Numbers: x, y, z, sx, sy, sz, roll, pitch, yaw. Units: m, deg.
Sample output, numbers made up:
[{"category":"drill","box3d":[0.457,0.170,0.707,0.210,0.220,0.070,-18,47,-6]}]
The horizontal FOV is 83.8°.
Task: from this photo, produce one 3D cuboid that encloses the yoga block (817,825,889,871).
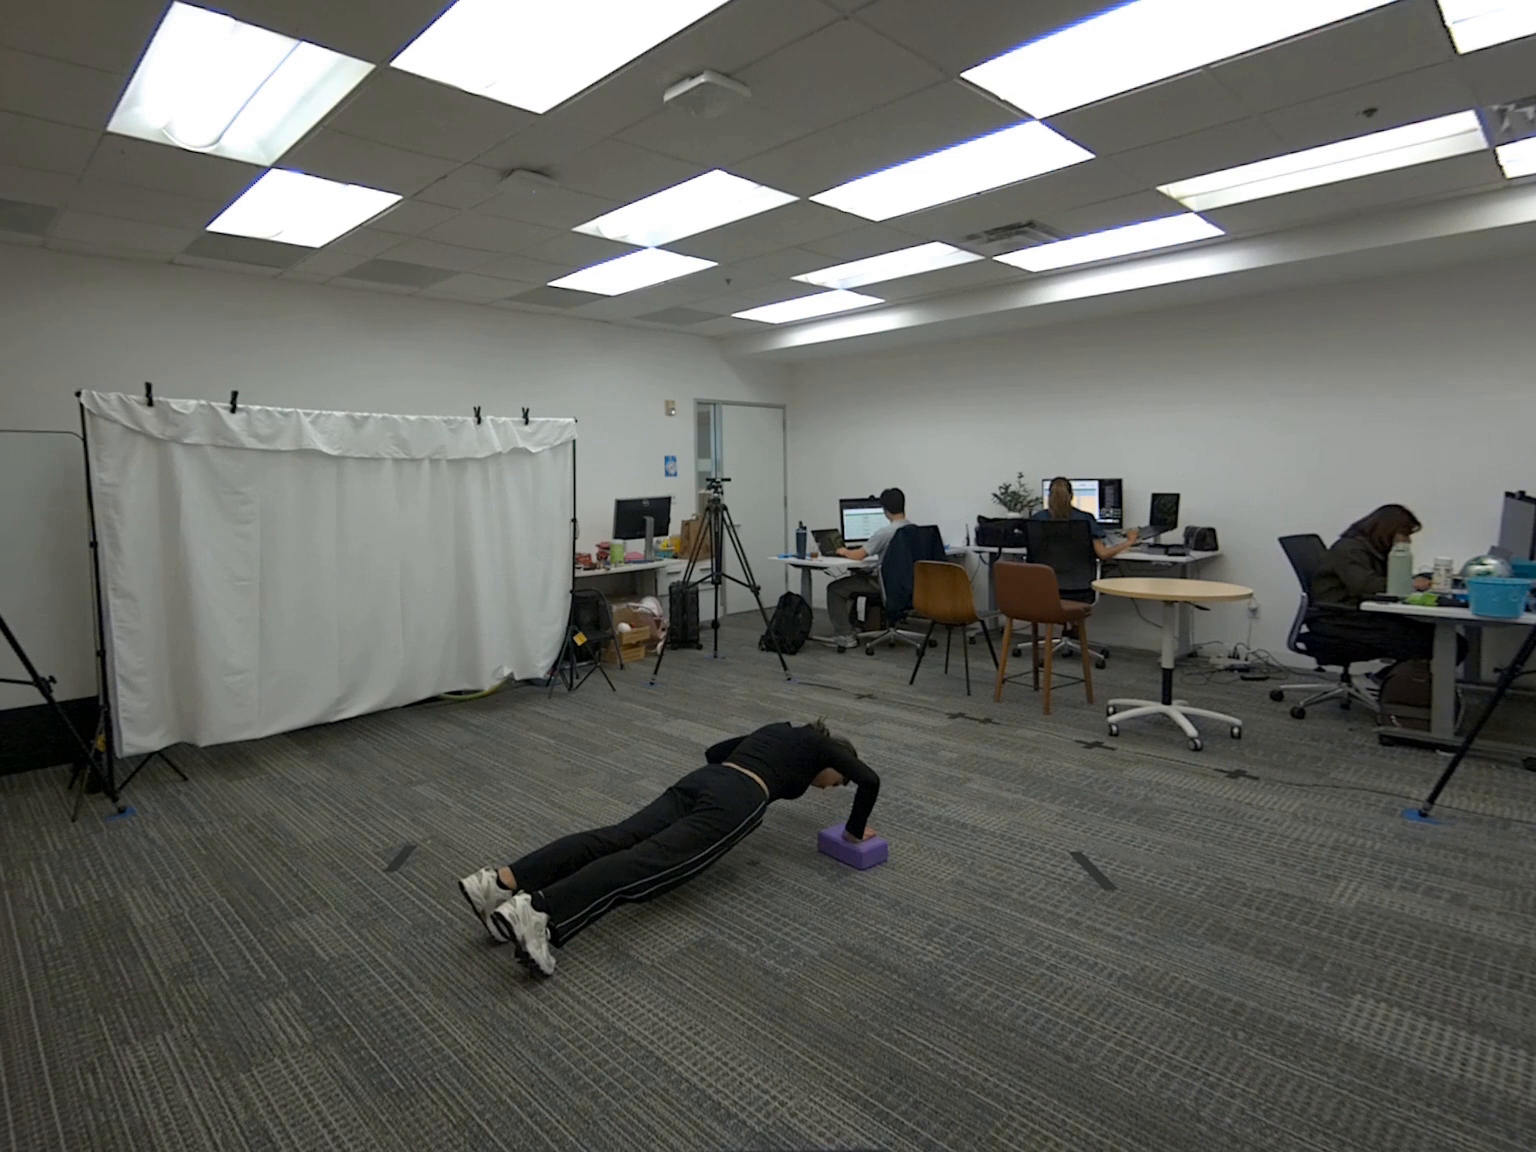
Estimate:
[{"category":"yoga block","box3d":[0.304,0.990,3.146,0.145,0.076,0.236,-5,8,-39]}]
